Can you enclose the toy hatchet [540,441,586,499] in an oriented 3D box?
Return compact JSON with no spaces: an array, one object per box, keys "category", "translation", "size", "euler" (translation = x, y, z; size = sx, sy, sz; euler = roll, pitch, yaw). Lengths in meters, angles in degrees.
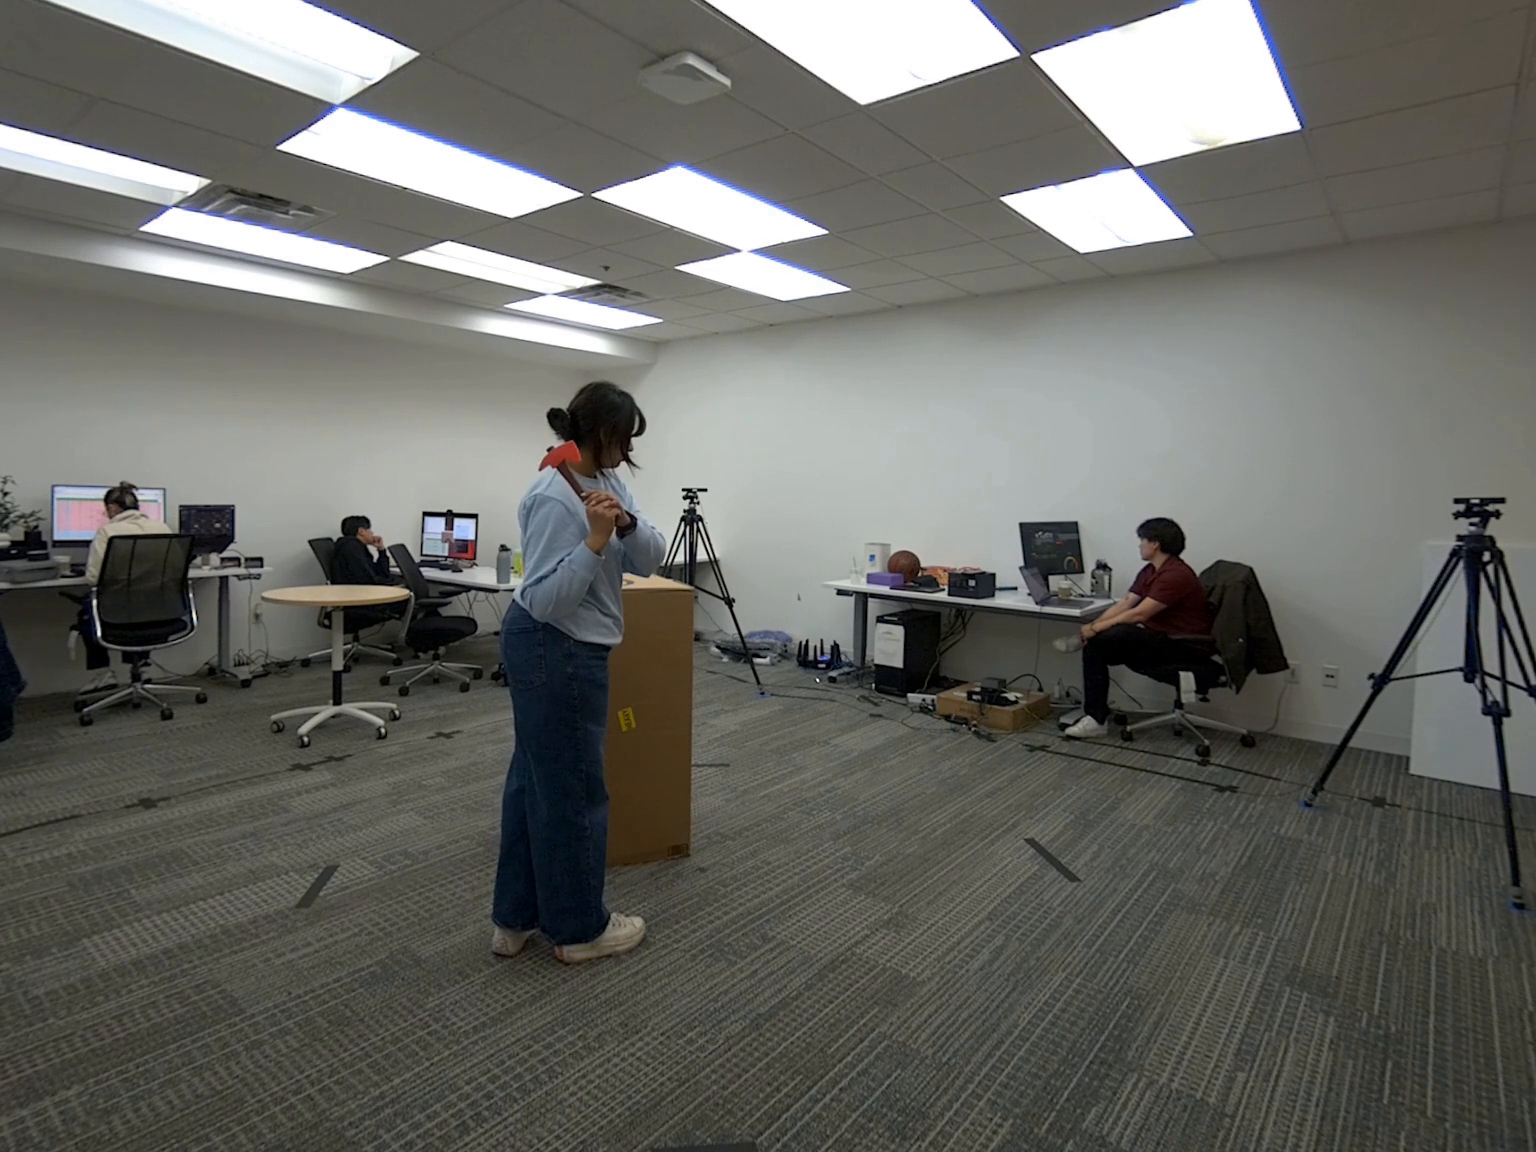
[{"category":"toy hatchet","translation":[-0.471,-0.264,2.262],"size":[0.271,0.130,0.029],"euler":[34,21,2]}]
